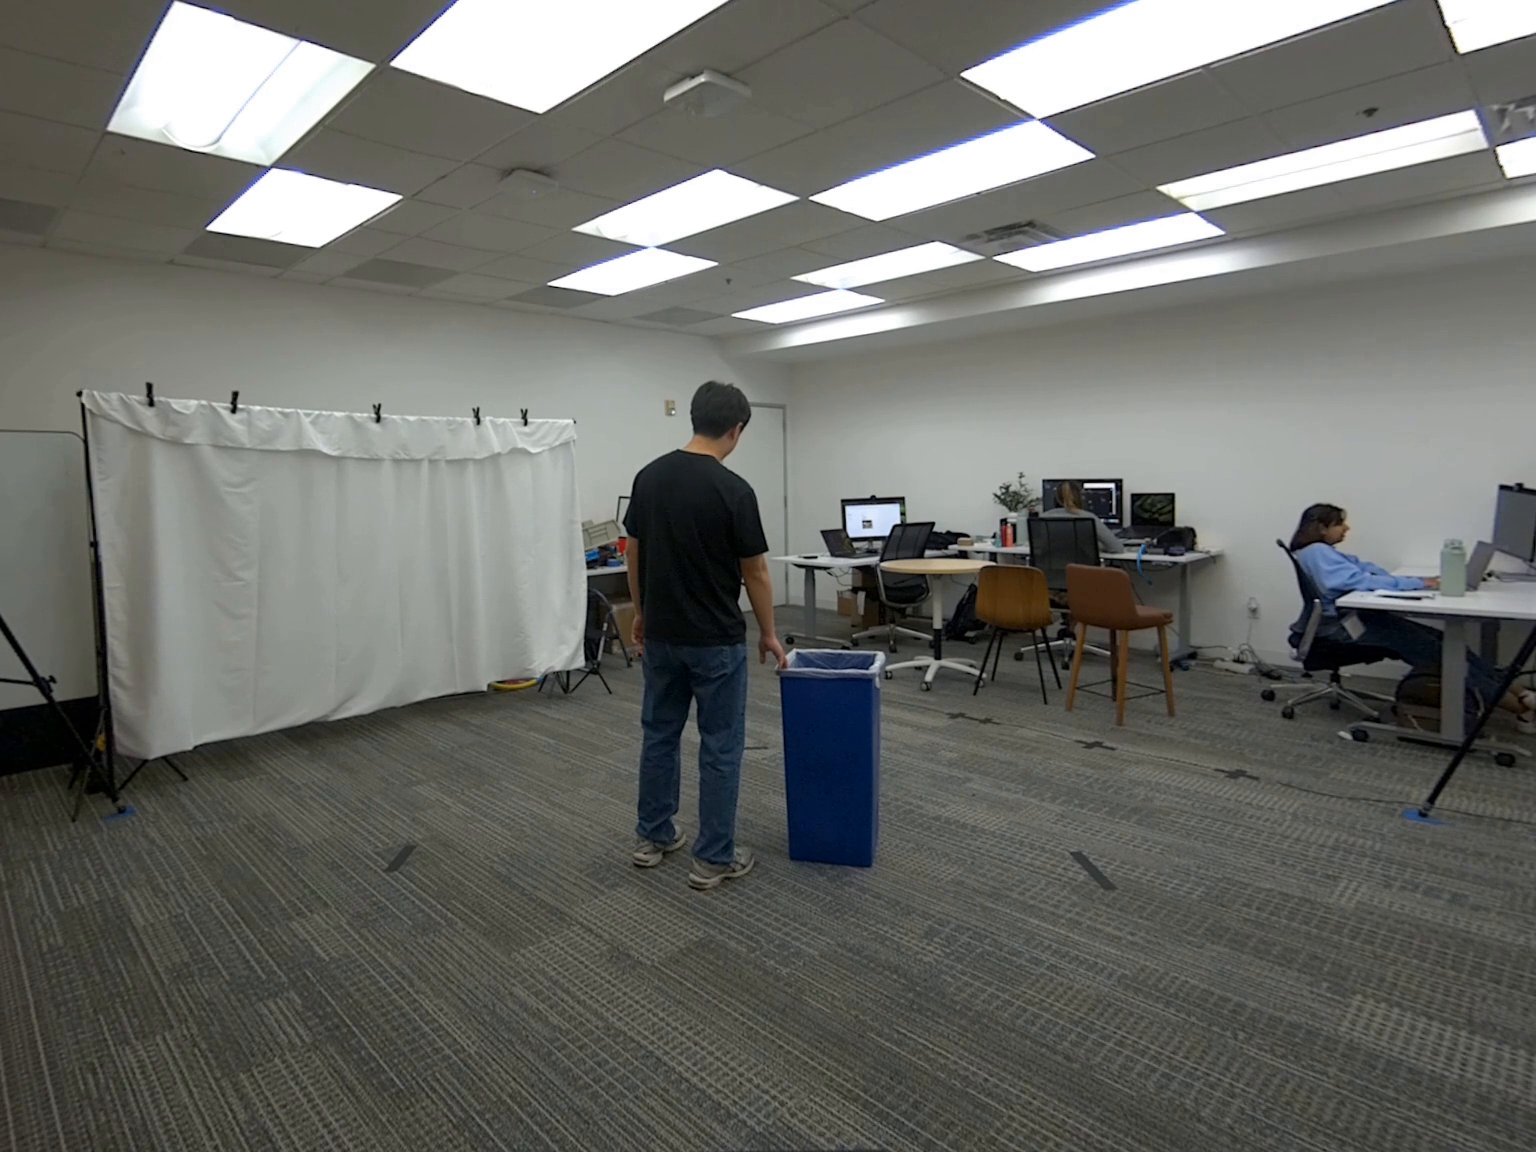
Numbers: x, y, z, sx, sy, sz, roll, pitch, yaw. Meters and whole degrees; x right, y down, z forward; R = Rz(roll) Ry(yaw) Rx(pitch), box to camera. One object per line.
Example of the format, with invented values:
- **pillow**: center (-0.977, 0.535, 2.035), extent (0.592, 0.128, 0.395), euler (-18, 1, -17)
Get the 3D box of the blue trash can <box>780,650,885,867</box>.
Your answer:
- **blue trash can**: center (0.255, 0.666, 3.213), extent (0.379, 0.711, 0.374), euler (-1, 4, 14)
